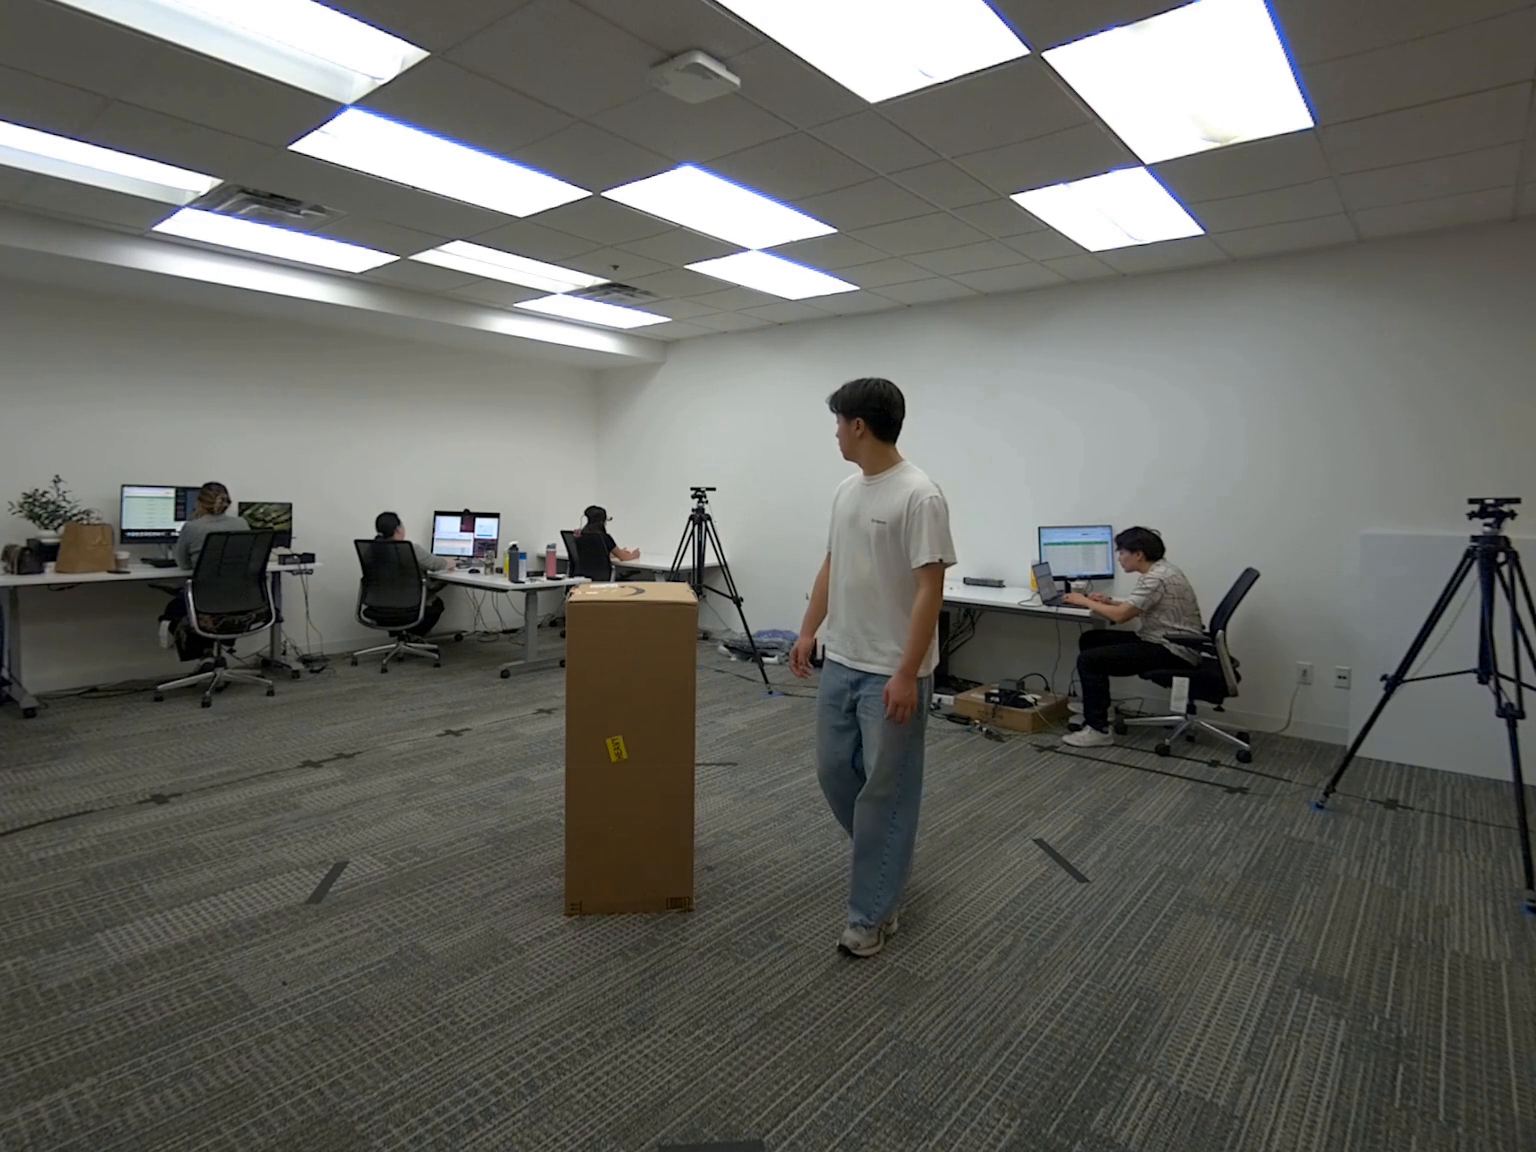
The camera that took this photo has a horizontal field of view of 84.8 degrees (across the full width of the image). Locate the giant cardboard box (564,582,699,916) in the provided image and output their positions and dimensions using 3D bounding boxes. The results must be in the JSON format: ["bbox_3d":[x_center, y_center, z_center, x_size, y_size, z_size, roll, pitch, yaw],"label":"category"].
[{"bbox_3d":[-0.501,0.561,3.031,0.423,1.023,0.583,1,3,-7],"label":"giant cardboard box"}]
